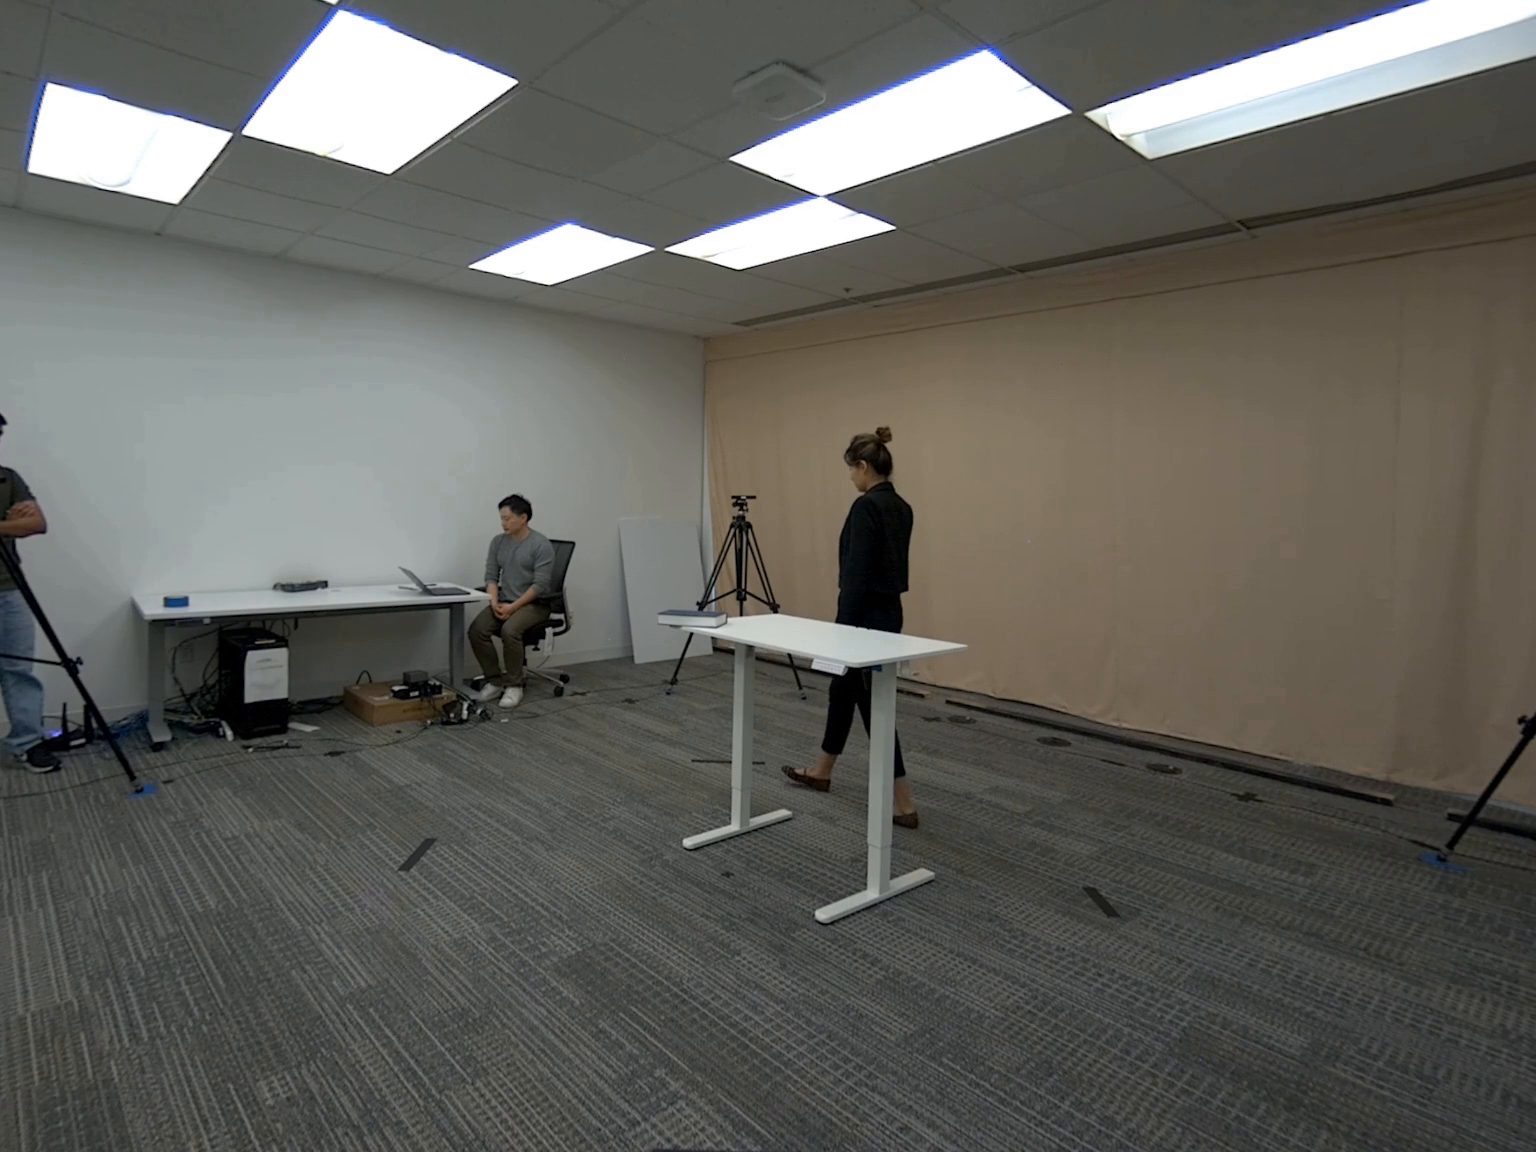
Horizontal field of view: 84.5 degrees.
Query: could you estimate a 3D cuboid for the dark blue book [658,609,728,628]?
[{"bbox_3d":[-0.308,0.167,3.372,0.248,0.045,0.162,3,4,14],"label":"dark blue book"}]
